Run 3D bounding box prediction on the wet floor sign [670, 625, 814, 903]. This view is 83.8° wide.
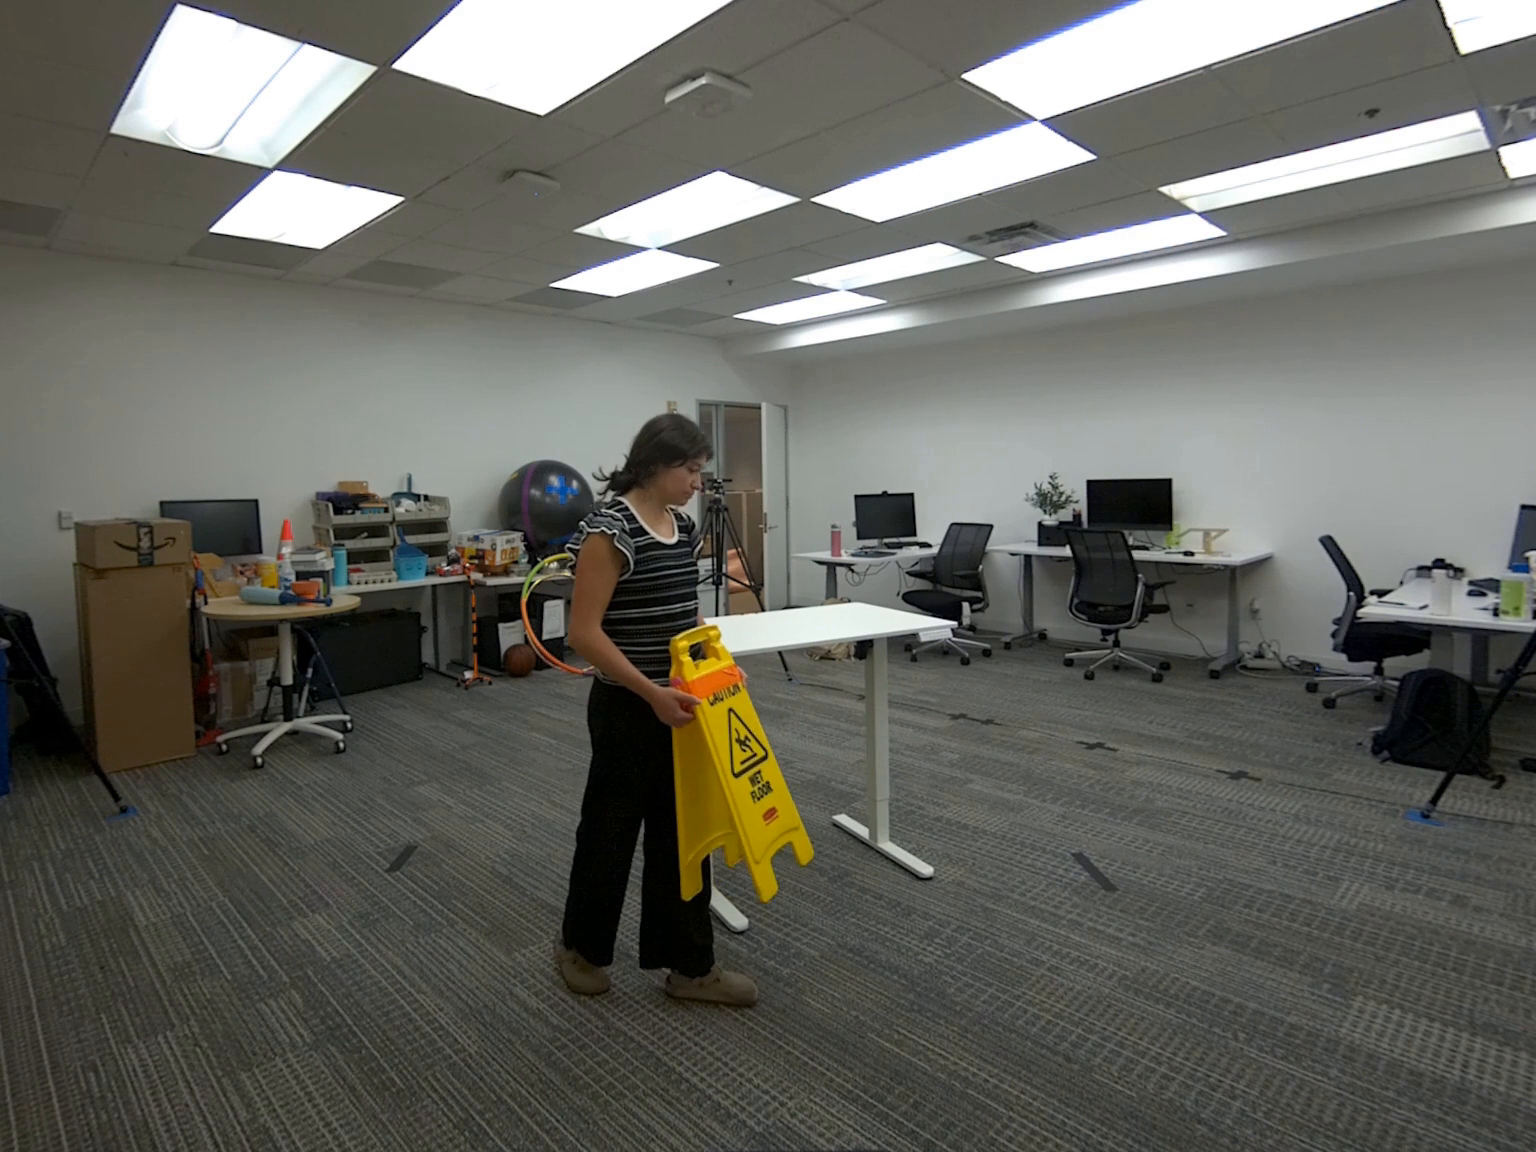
[{"bbox_3d":[-0.121,0.454,2.200,0.295,0.646,0.276,-13,0,31],"label":"wet floor sign"}]
